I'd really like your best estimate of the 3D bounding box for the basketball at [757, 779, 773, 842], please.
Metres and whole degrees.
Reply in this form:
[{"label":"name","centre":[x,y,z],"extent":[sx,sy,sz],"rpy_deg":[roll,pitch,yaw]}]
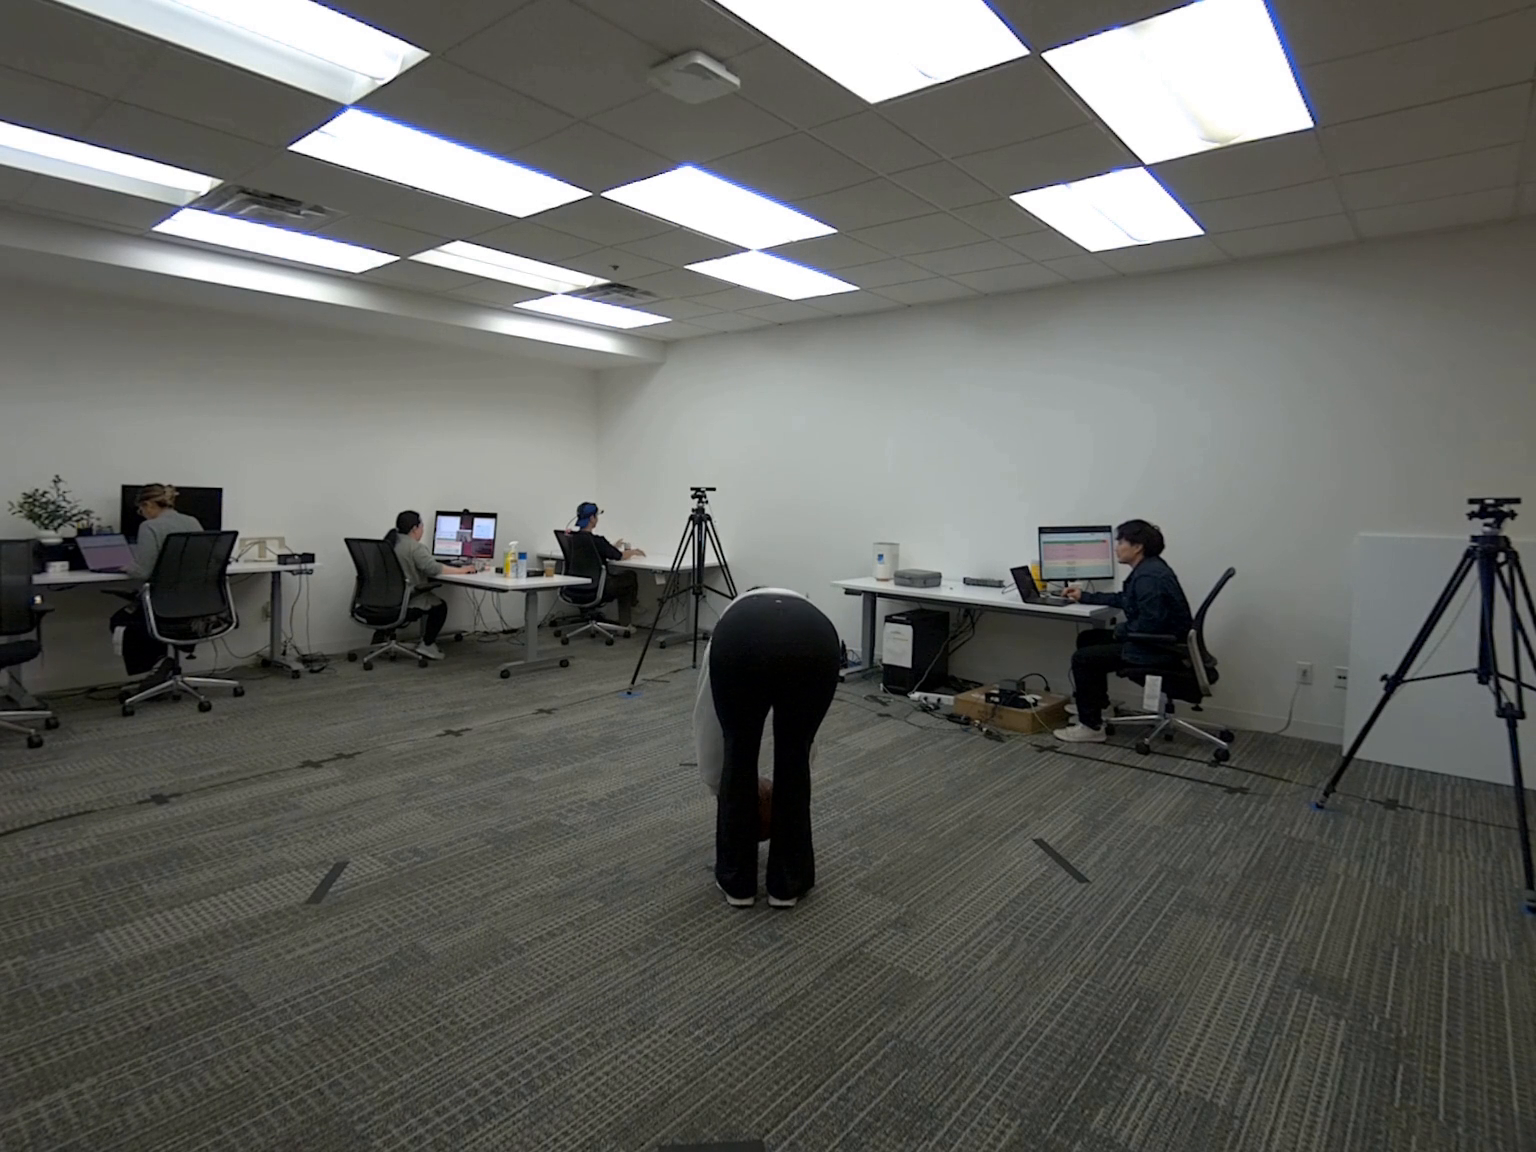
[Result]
[{"label":"basketball","centre":[-0.056,0.846,3.203],"extent":[0.235,0.235,0.237],"rpy_deg":[1,4,-2]}]
